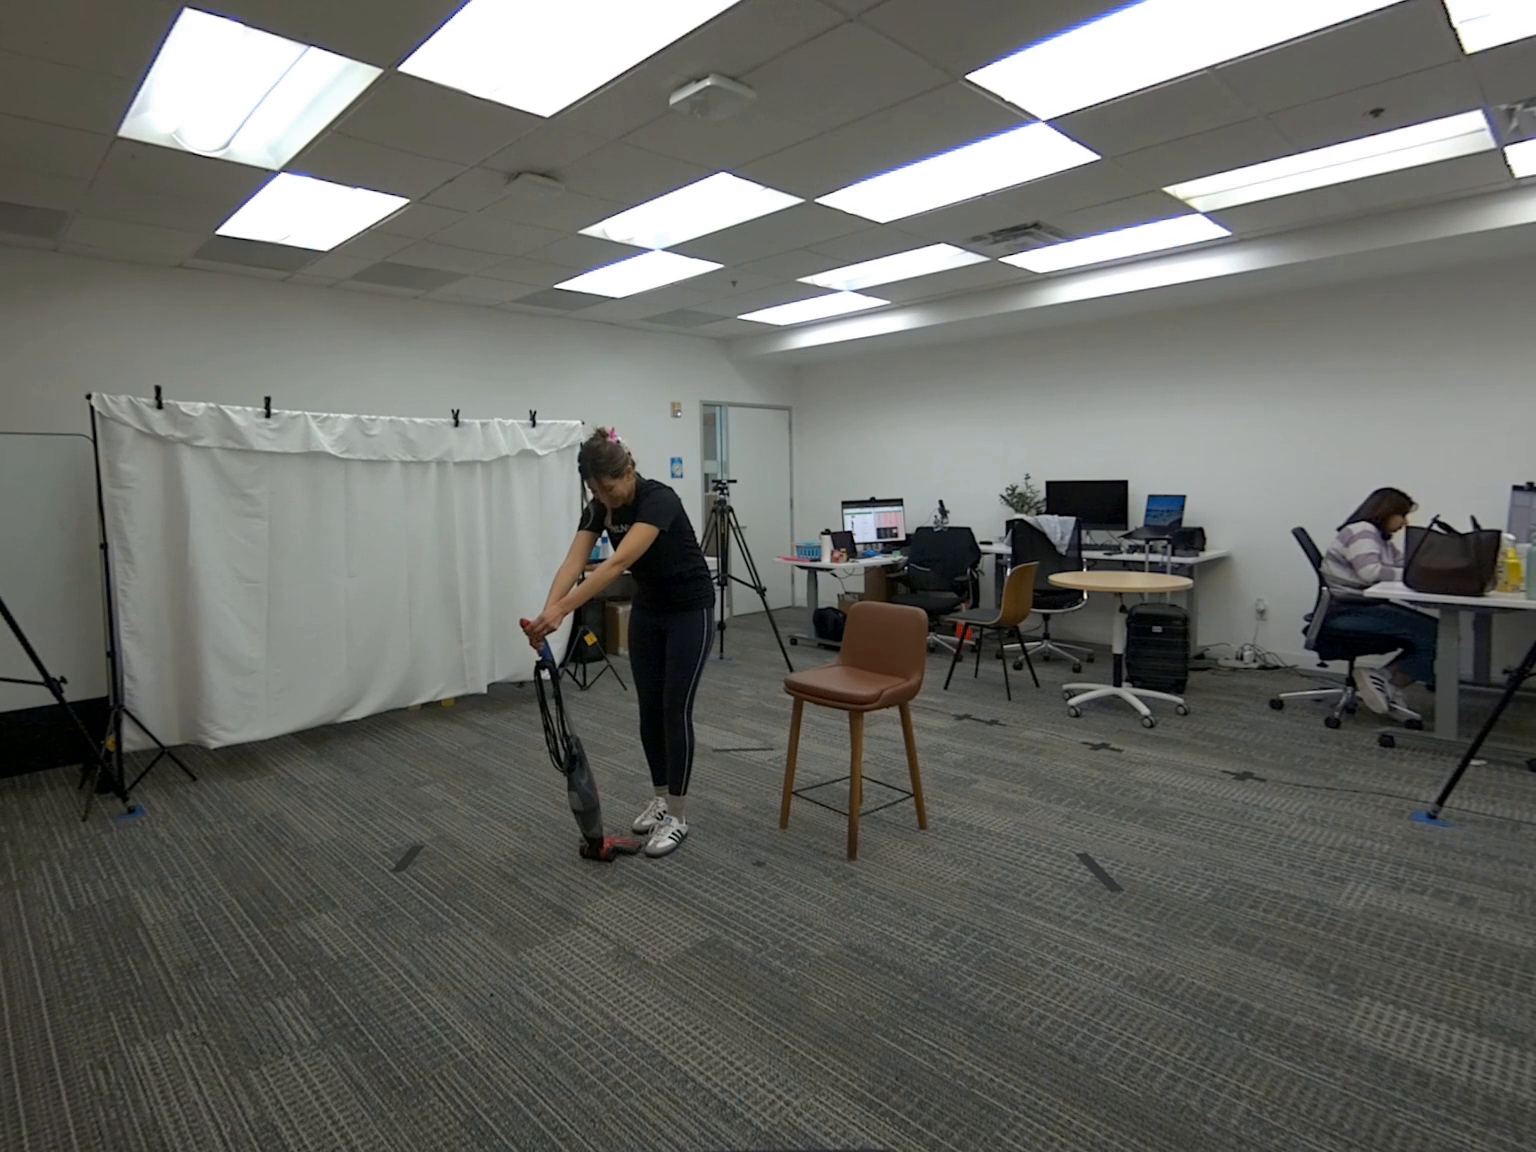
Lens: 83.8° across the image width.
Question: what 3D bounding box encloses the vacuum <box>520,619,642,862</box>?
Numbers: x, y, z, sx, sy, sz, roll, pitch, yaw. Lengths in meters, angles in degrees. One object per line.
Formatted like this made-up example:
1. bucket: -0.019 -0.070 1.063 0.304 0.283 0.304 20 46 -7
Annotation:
1. vacuum: -0.703 0.595 2.992 0.260 1.022 0.143 7 33 32
